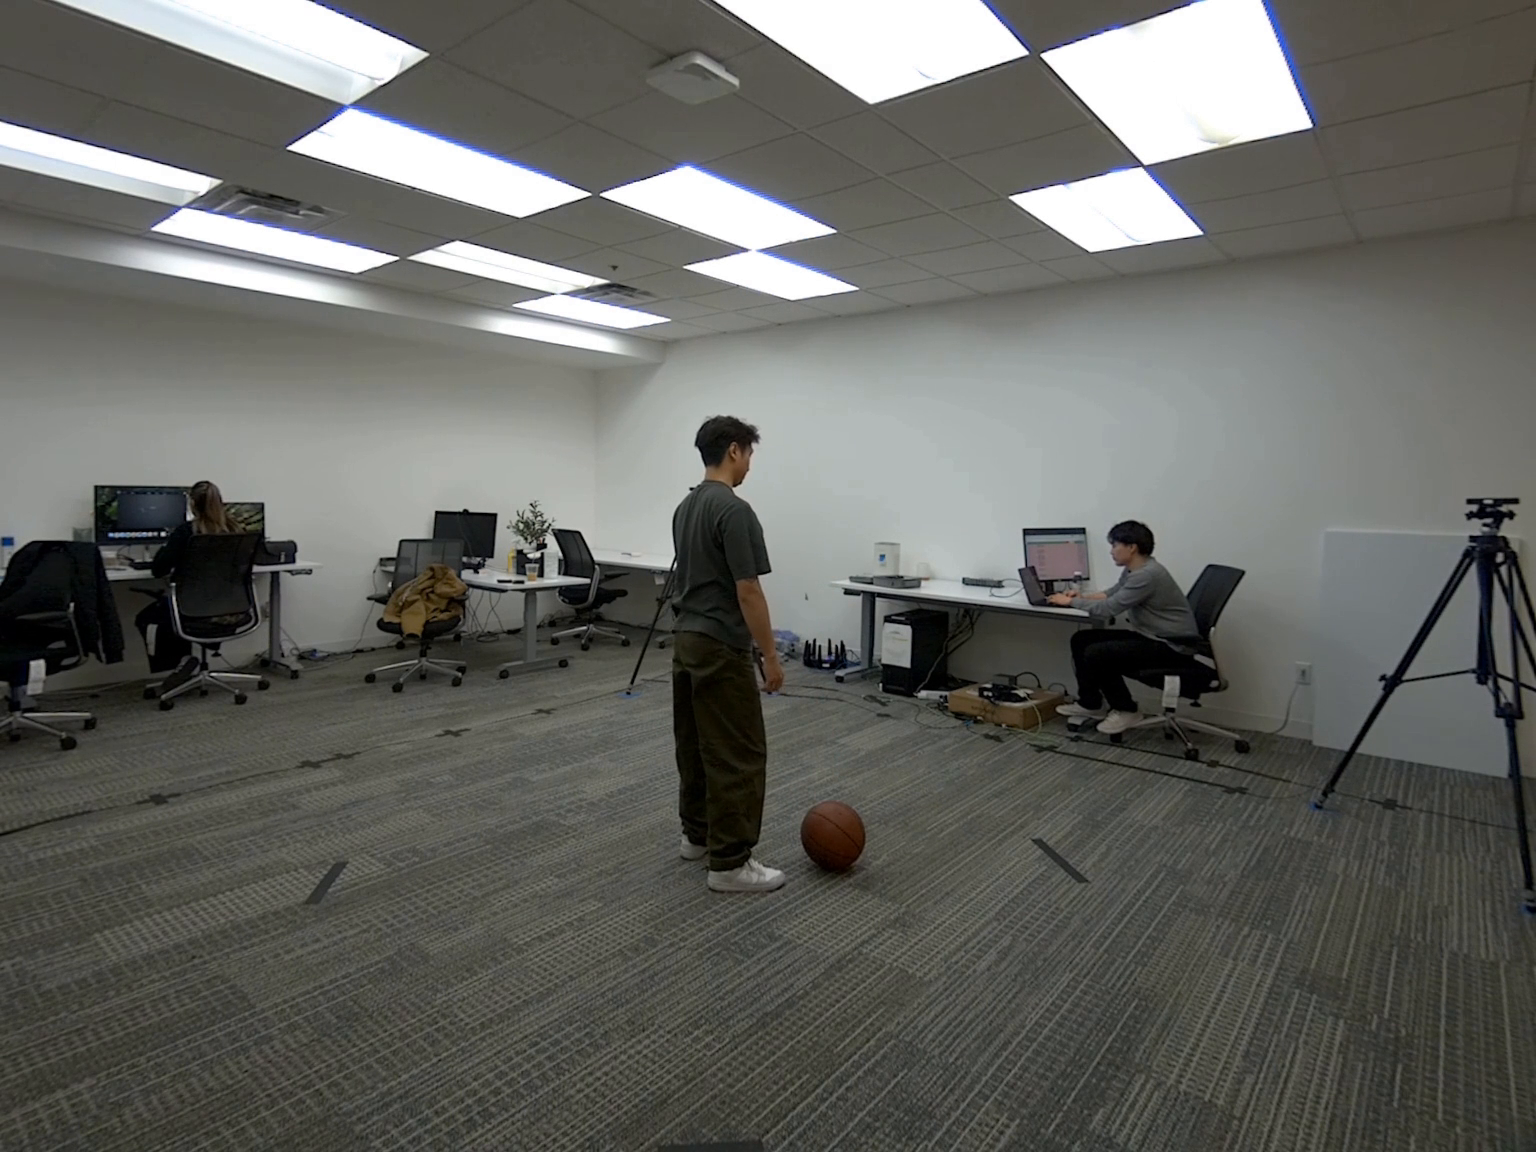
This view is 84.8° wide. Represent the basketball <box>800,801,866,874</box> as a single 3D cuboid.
[{"bbox_3d":[0.239,0.958,3.140,0.235,0.235,0.237,1,4,-2],"label":"basketball"}]
